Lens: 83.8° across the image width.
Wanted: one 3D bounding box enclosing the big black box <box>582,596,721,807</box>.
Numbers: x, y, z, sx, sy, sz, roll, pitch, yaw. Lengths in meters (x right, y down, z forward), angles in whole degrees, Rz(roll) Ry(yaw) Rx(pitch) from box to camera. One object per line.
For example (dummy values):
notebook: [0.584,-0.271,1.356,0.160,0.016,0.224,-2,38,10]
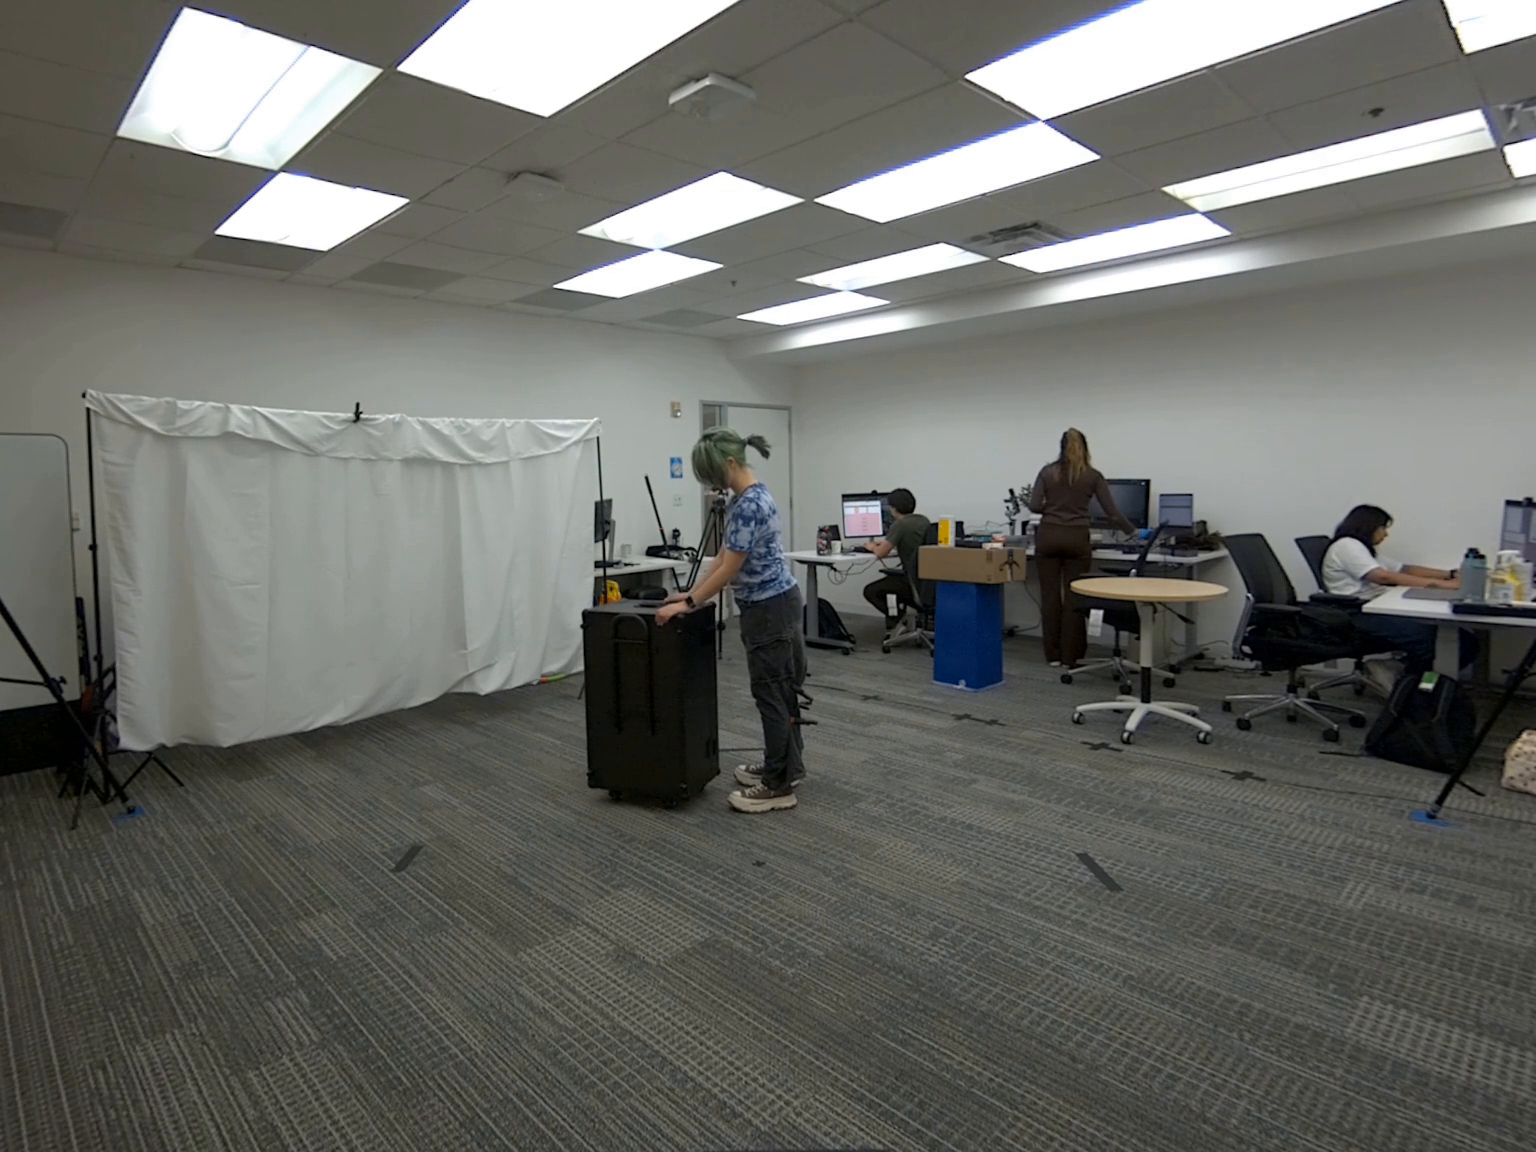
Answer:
big black box: [-0.501,0.562,3.771,0.533,0.858,0.389,0,5,24]
